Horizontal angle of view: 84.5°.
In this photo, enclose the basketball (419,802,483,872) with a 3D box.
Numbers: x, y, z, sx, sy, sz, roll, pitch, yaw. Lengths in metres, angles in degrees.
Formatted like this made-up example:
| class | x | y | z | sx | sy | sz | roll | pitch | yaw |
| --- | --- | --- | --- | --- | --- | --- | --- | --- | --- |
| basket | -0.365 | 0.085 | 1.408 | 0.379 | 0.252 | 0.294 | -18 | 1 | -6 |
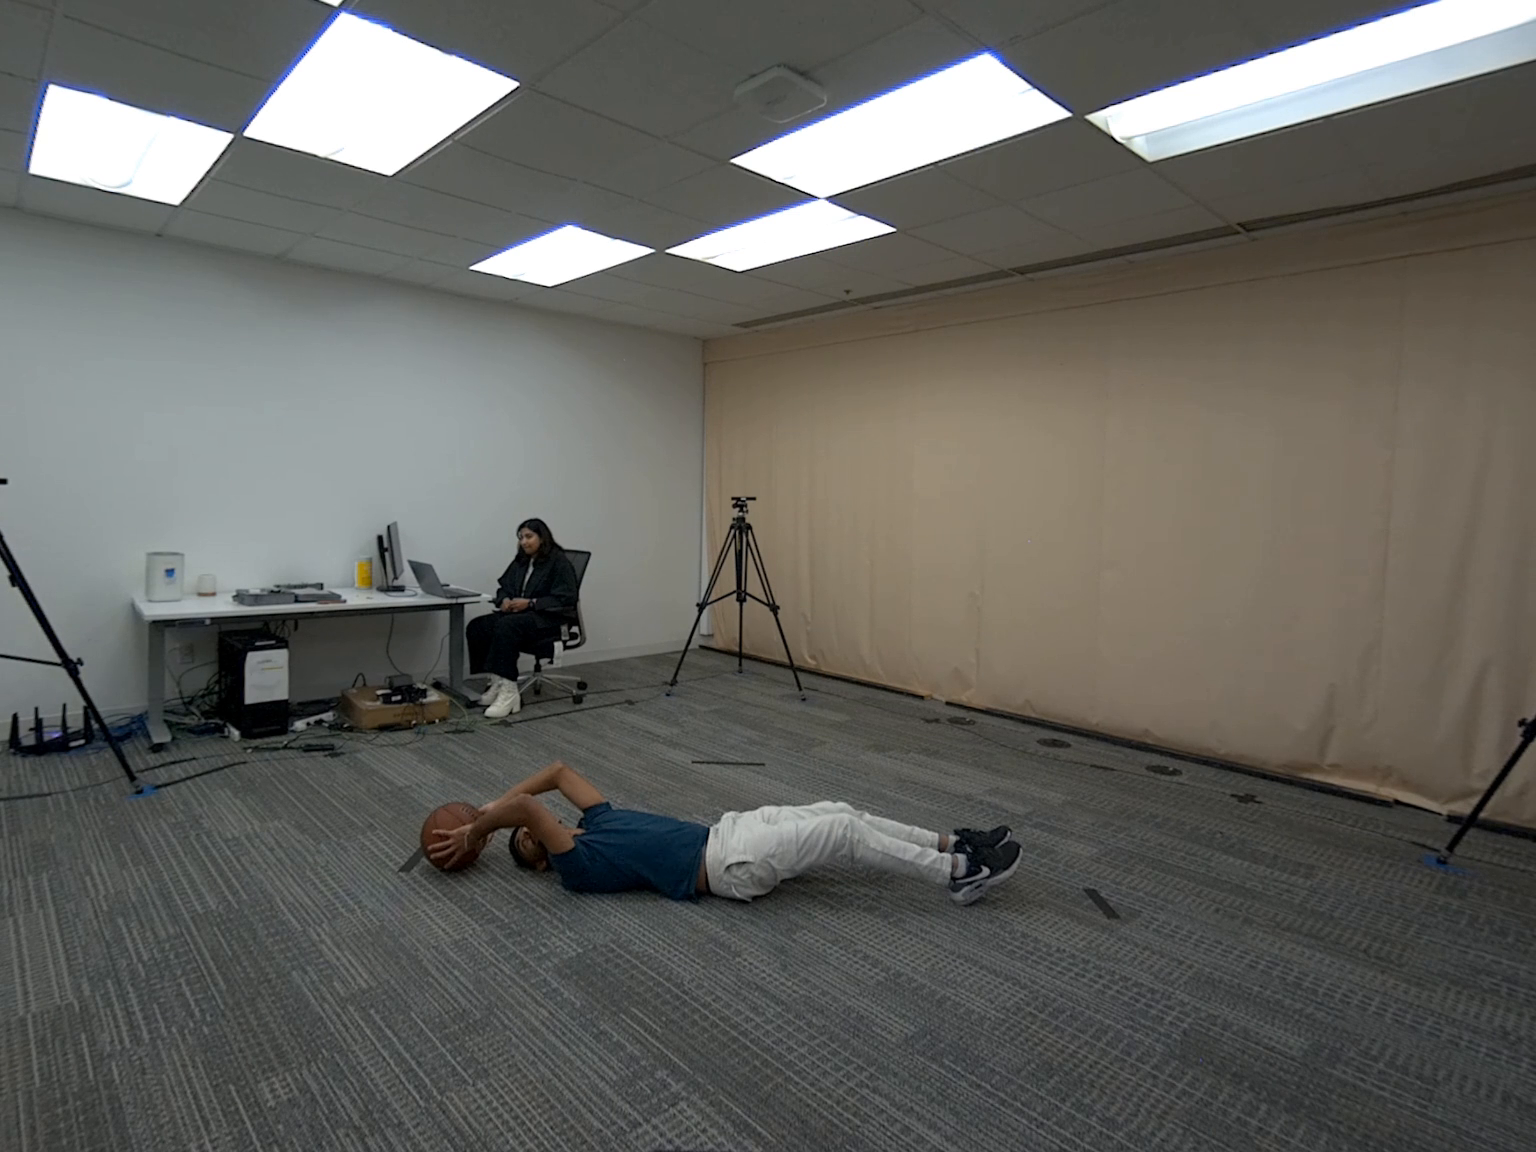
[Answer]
| class | x | y | z | sx | sy | sz | roll | pitch | yaw |
| --- | --- | --- | --- | --- | --- | --- | --- | --- | --- |
| basketball | -1.175 | 0.964 | 3.120 | 0.236 | 0.235 | 0.237 | 1 | 4 | -1 |
